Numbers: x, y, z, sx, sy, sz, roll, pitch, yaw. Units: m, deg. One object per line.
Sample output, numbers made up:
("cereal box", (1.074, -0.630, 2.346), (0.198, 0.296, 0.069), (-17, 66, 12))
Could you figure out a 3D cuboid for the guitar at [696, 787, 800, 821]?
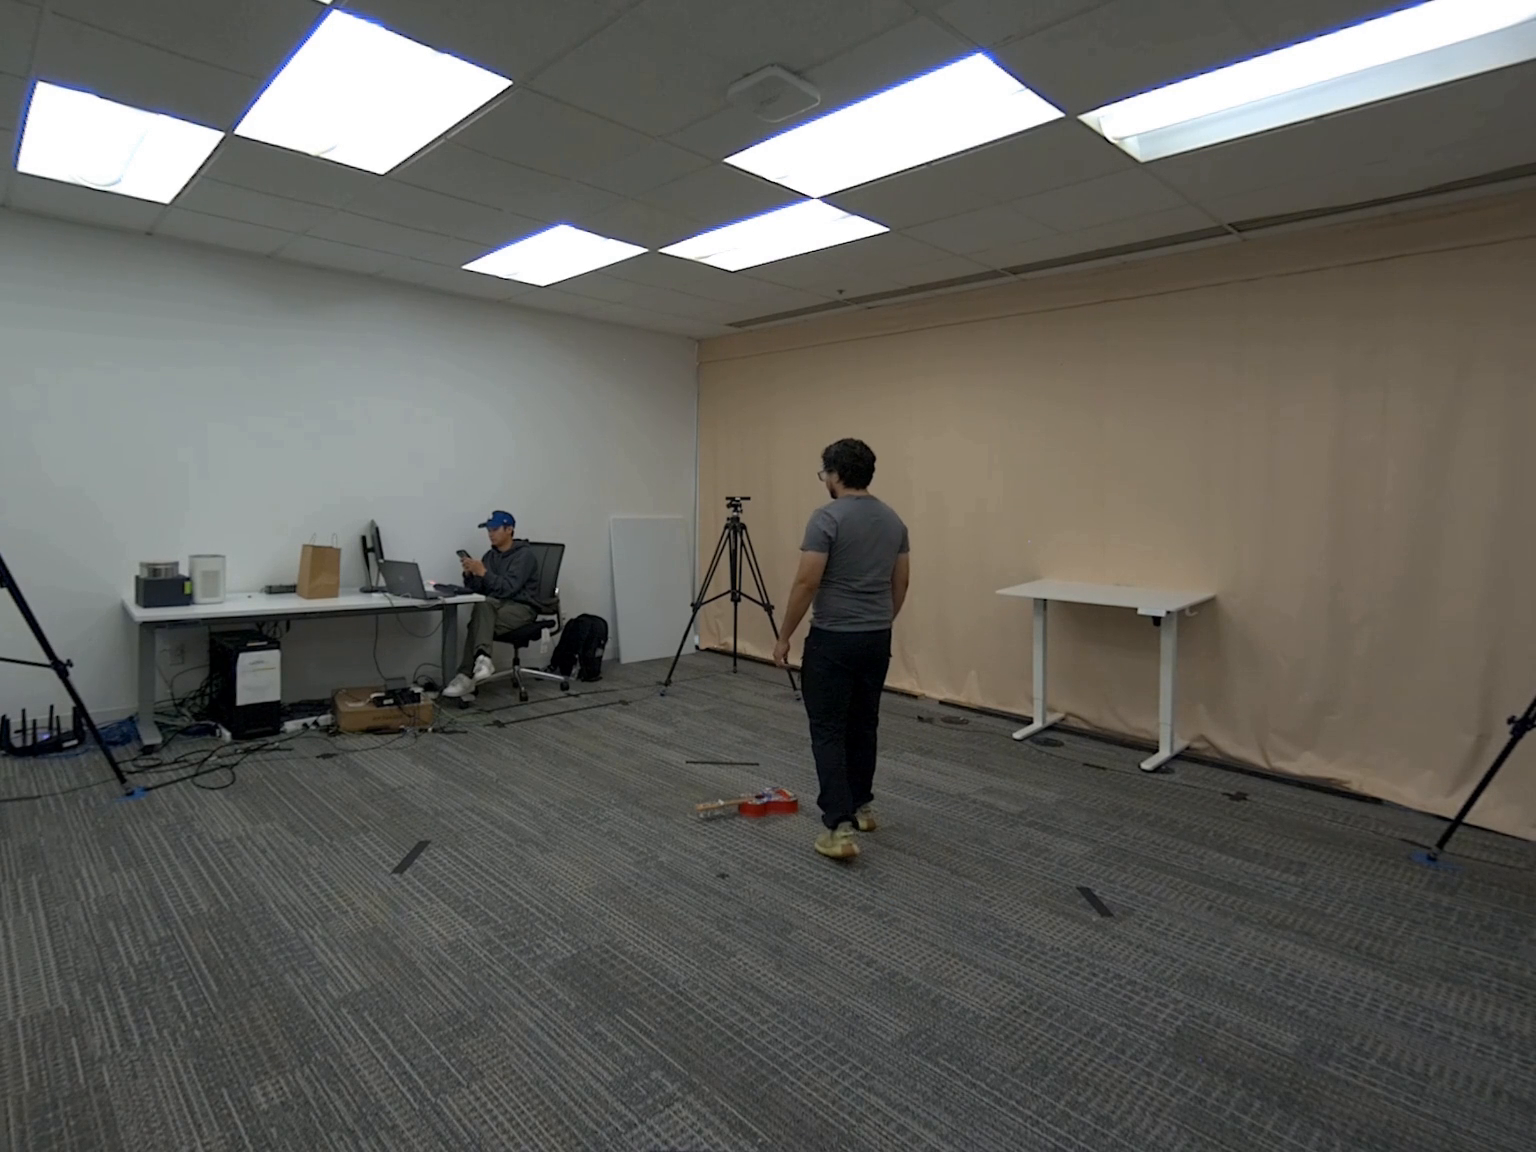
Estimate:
("guitar", (-0.118, 1.014, 3.768), (0.490, 0.070, 0.197), (0, 6, -21))
